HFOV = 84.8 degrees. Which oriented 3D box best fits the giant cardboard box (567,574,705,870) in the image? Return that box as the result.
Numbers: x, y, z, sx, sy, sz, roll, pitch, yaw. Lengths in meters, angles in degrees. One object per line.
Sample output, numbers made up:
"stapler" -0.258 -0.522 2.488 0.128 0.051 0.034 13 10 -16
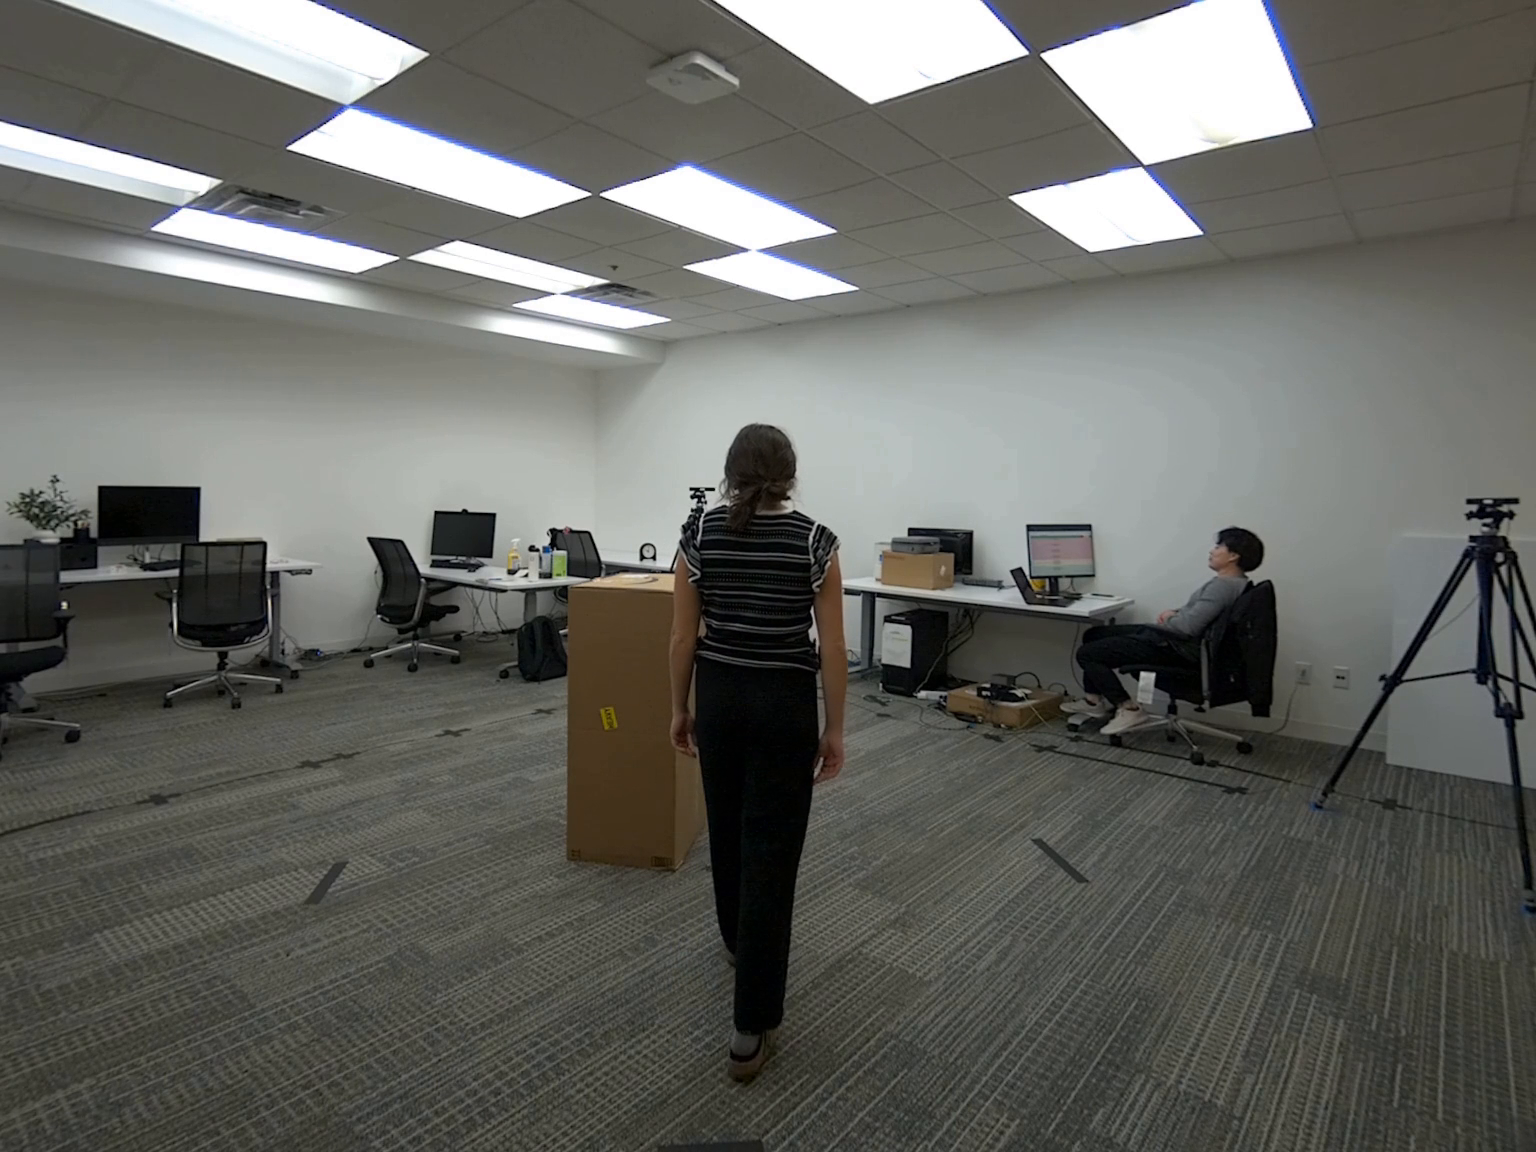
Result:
"giant cardboard box" -0.504 0.527 3.371 0.432 1.023 0.572 2 4 11
